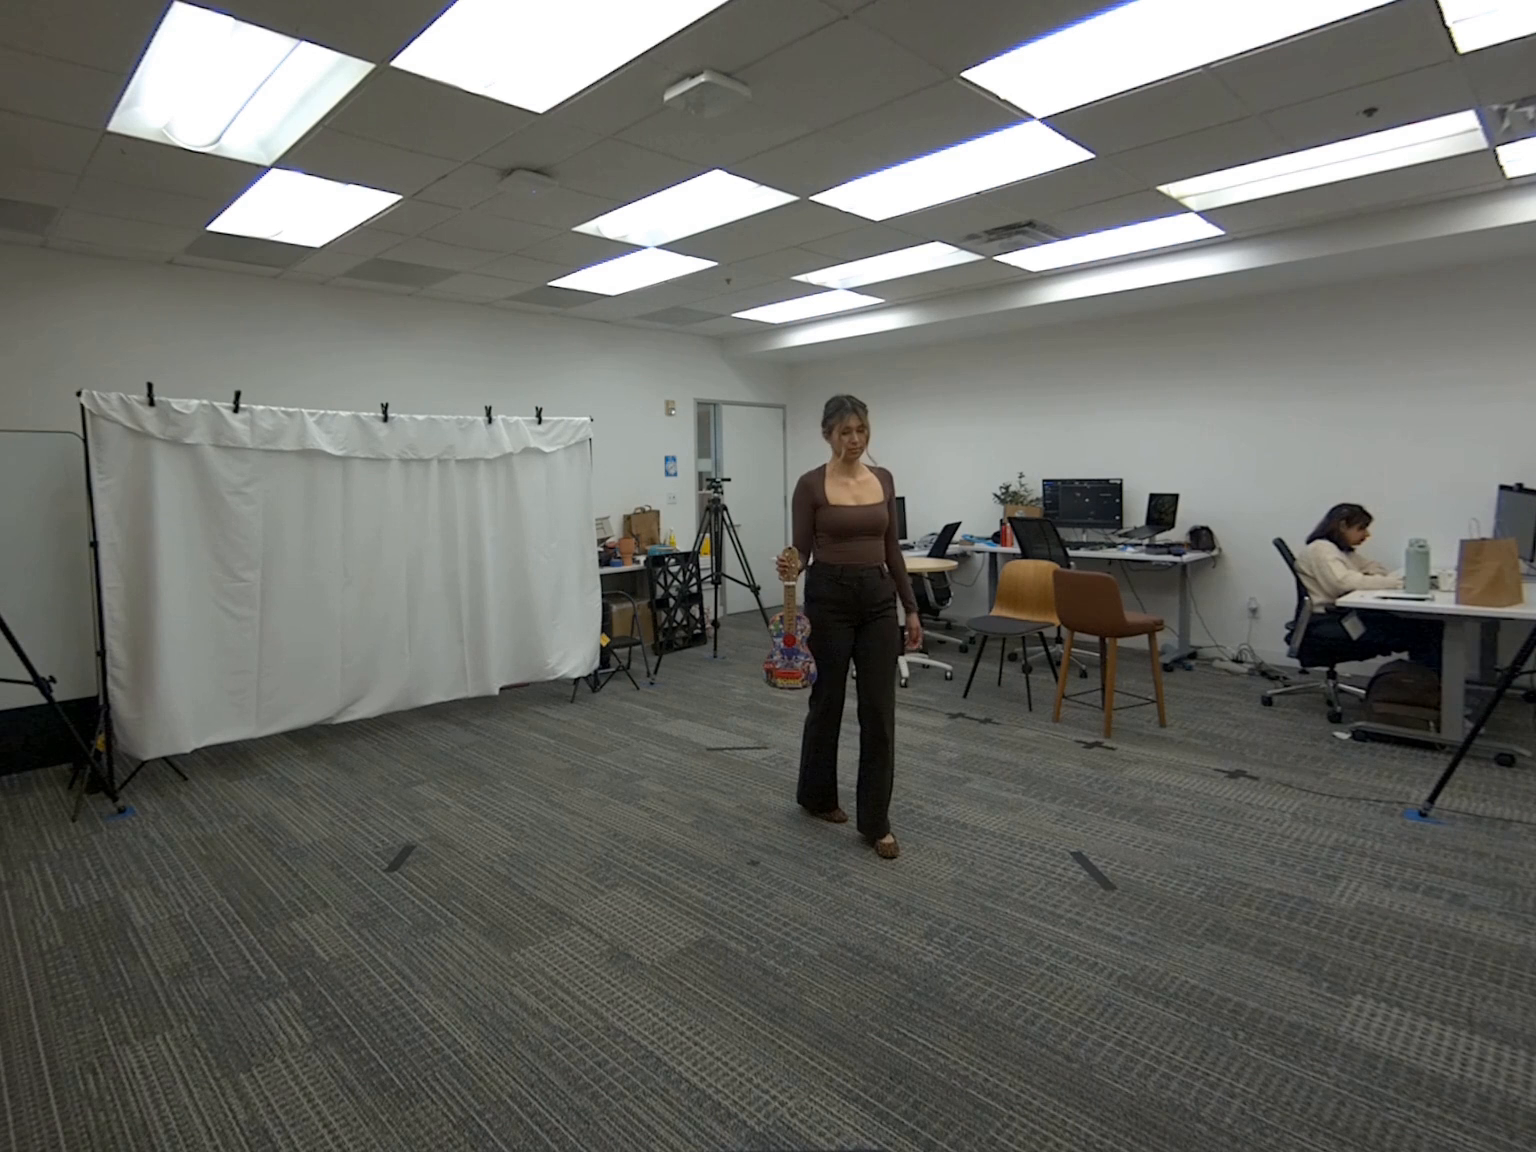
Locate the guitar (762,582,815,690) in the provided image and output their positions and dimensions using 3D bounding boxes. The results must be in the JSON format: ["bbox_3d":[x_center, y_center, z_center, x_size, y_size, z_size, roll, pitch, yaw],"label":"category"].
[{"bbox_3d":[0.103,0.153,3.007,0.194,0.497,0.070,9,0,6],"label":"guitar"}]
